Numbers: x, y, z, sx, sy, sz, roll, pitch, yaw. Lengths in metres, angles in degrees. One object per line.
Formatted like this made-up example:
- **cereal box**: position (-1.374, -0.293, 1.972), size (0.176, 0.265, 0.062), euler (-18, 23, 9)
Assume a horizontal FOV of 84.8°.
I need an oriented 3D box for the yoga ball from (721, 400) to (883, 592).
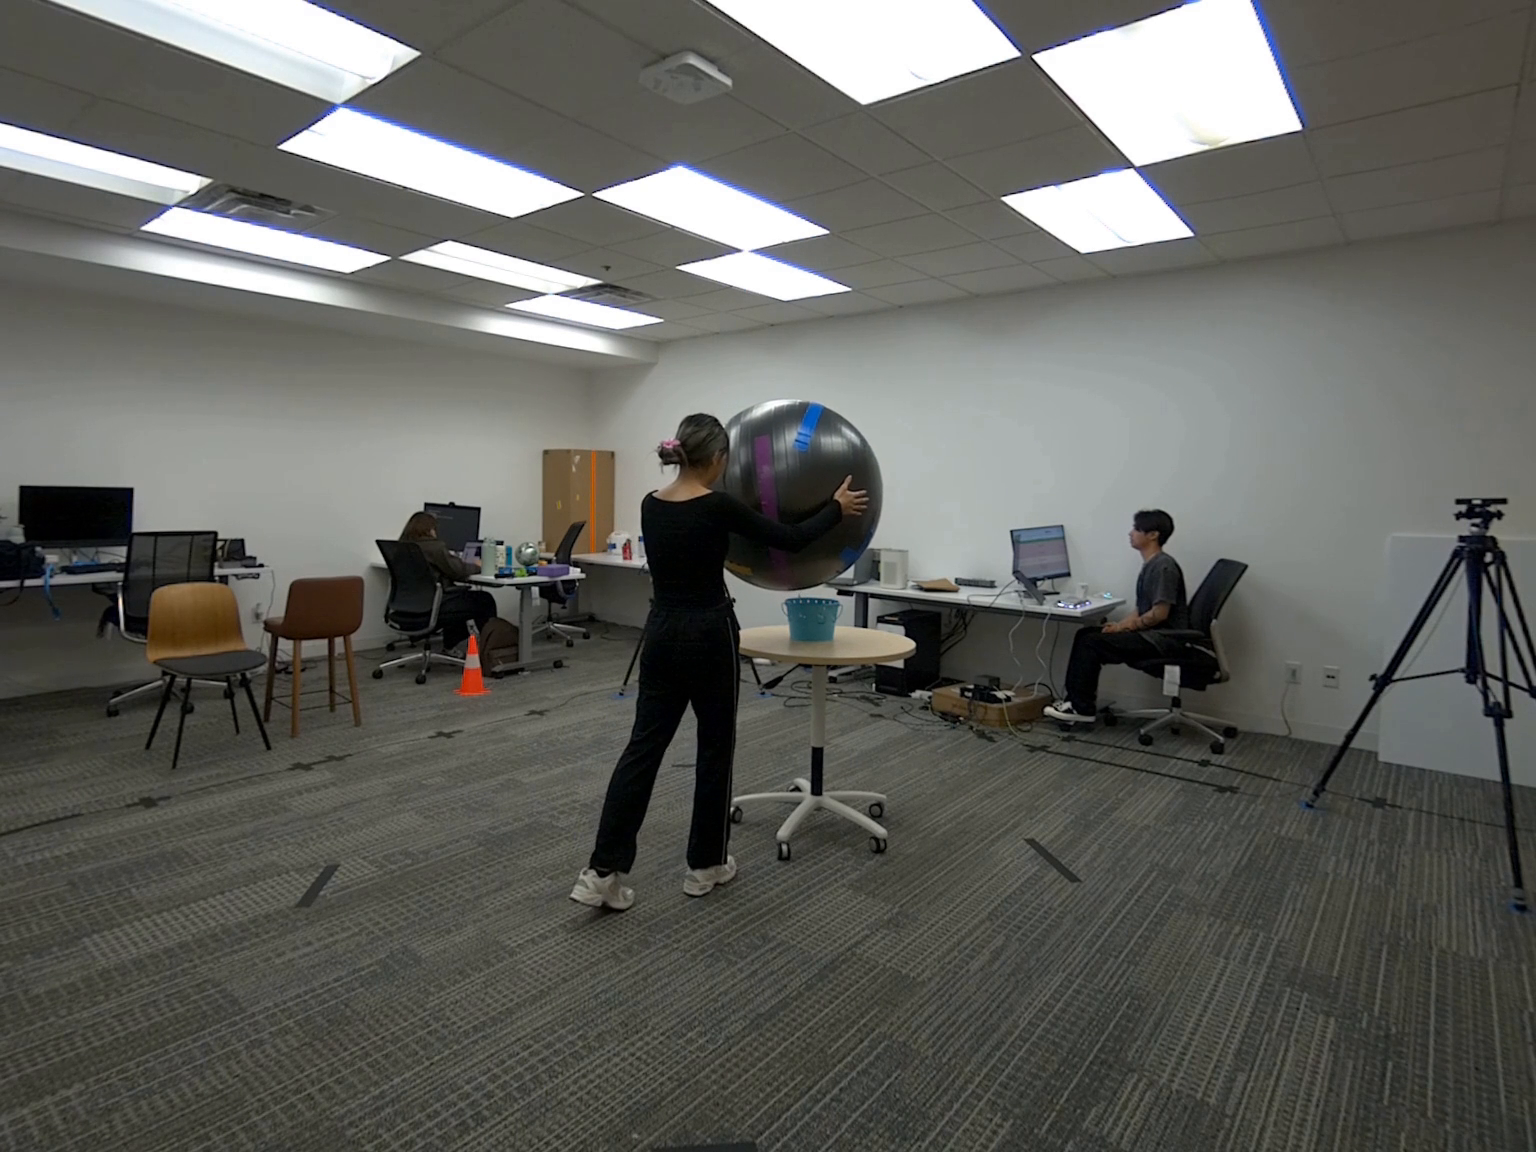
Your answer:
- **yoga ball**: position (0.071, -0.319, 3.391), size (0.757, 0.756, 0.762), euler (1, 4, -2)
